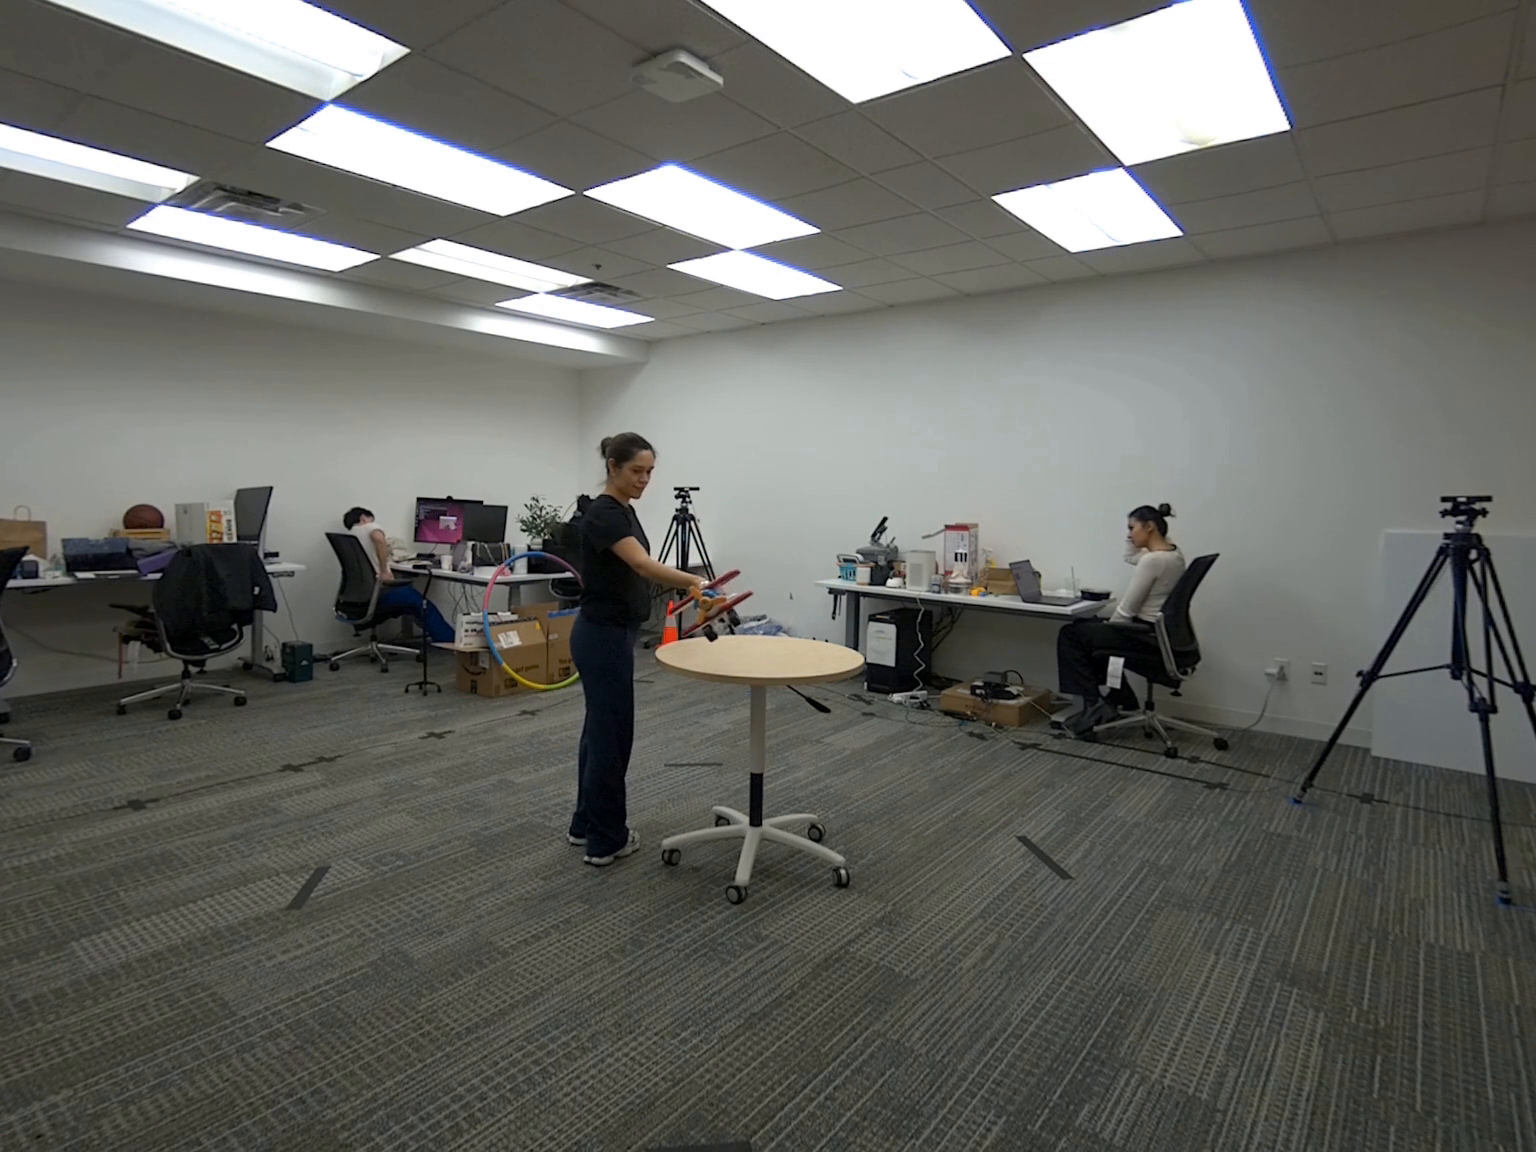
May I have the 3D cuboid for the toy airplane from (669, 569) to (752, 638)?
[{"bbox_3d":[-0.177,0.101,2.673,0.250,0.155,0.262,-36,7,-19],"label":"toy airplane"}]
